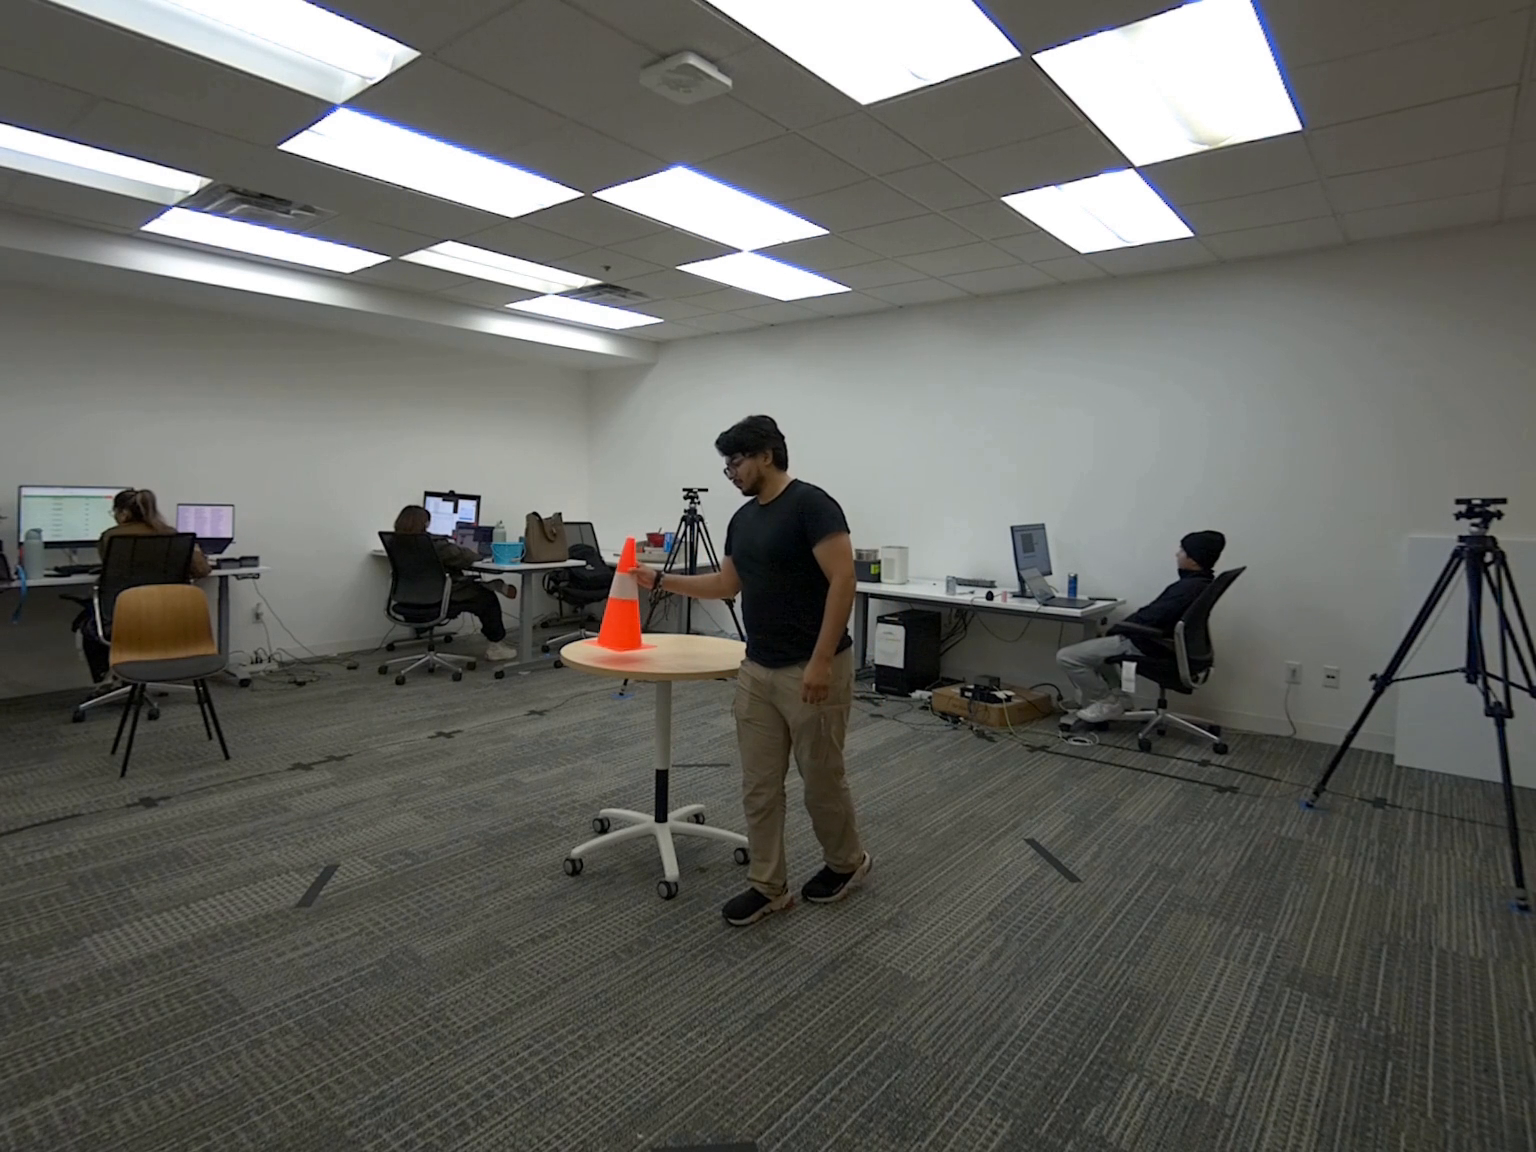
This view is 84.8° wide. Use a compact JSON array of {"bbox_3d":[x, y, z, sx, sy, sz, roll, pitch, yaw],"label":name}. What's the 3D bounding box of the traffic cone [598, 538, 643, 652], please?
[{"bbox_3d":[-0.512,0.056,2.981,0.211,0.383,0.197,6,4,31],"label":"traffic cone"}]
